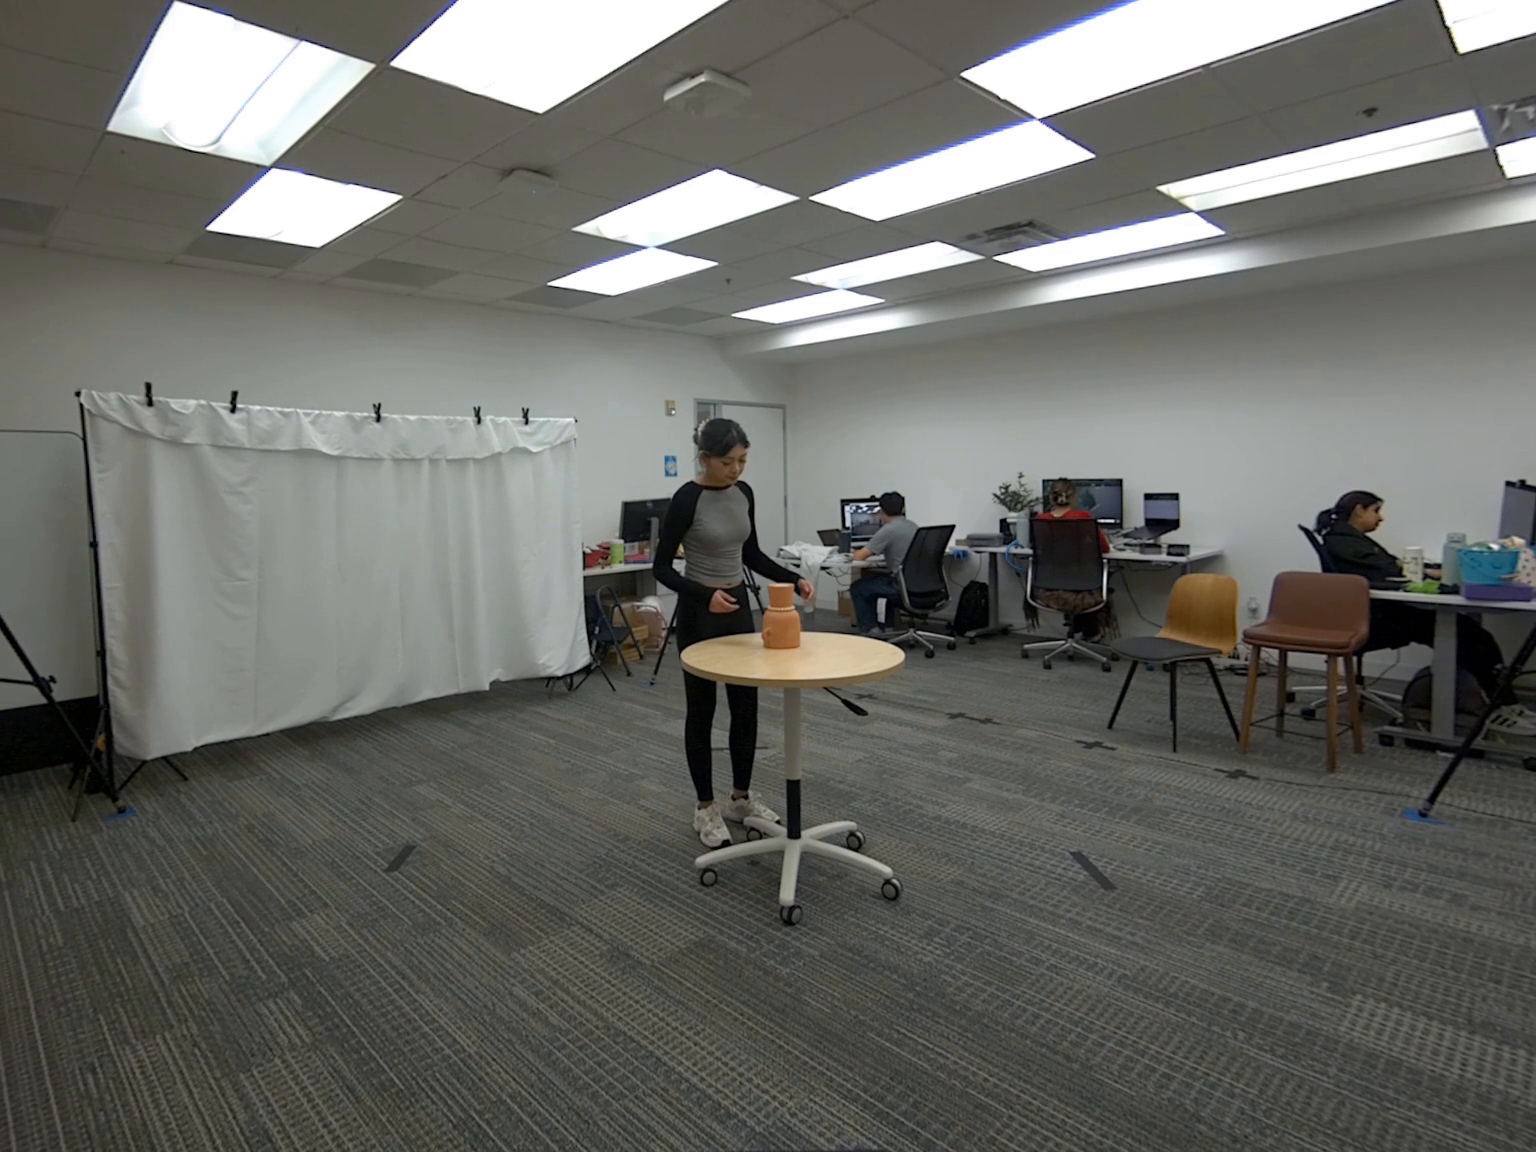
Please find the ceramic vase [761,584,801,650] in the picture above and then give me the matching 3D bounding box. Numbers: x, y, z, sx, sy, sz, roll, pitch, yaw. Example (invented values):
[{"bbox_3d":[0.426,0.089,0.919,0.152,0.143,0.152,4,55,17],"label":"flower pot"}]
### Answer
[{"bbox_3d":[0.044,0.139,3.068,0.135,0.219,0.159,-4,4,4],"label":"ceramic vase"}]
